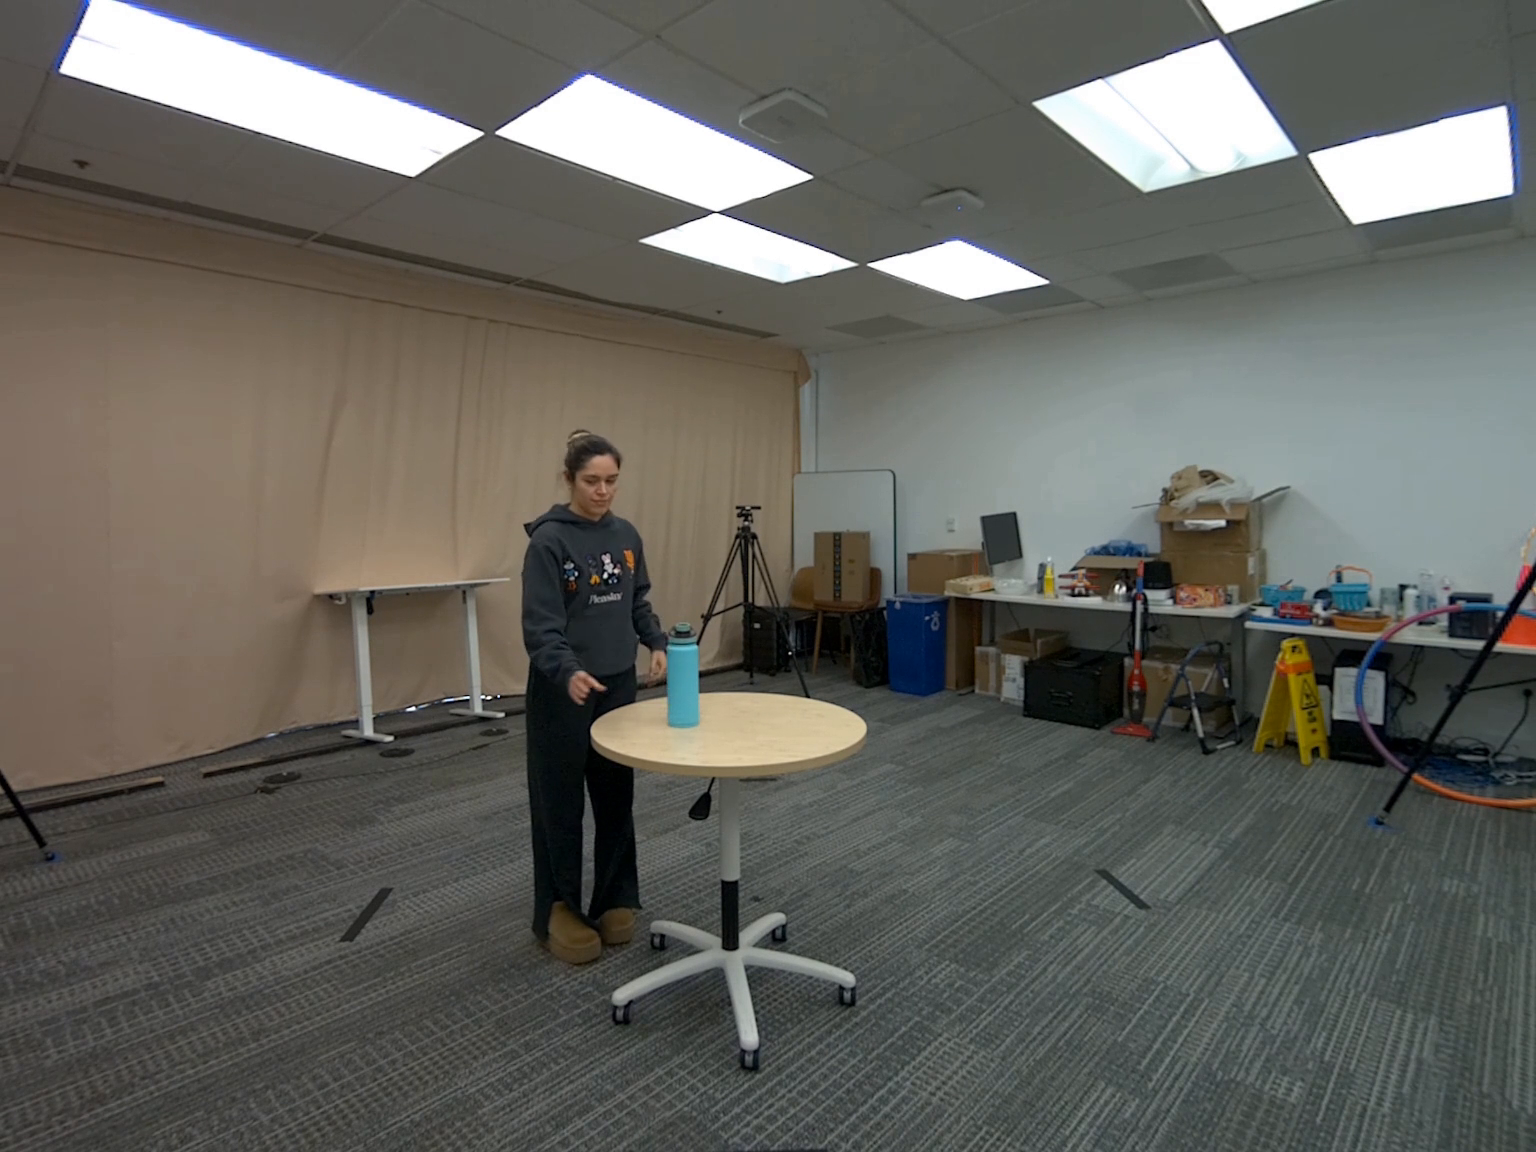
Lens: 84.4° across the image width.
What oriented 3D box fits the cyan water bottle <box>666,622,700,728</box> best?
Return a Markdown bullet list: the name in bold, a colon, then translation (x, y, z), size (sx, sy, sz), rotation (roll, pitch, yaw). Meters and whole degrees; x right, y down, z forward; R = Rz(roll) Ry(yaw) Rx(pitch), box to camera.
- **cyan water bottle**: translation (-0.229, 0.281, 2.349), size (0.092, 0.283, 0.092), rotation (-2, 2, -2)
